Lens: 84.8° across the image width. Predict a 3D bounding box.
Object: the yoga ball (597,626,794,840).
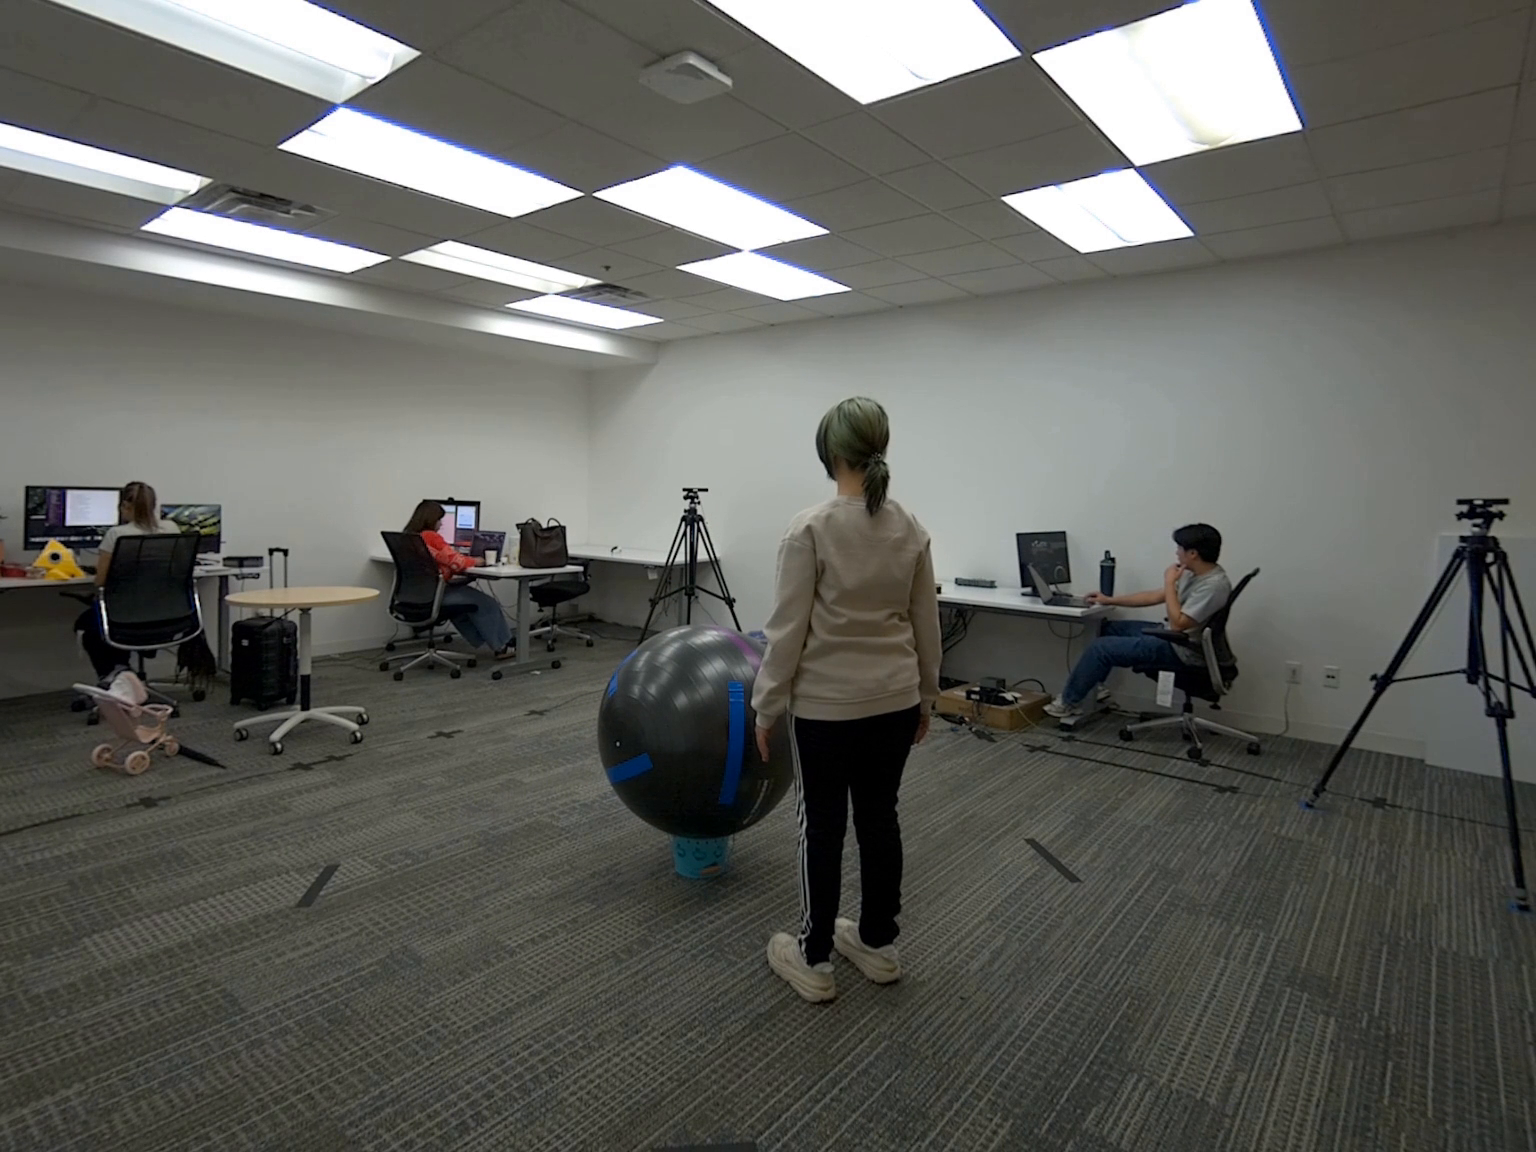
[{"bbox_3d":[-0.254,0.554,3.102,0.757,0.755,0.762,1,4,-2],"label":"yoga ball"}]
